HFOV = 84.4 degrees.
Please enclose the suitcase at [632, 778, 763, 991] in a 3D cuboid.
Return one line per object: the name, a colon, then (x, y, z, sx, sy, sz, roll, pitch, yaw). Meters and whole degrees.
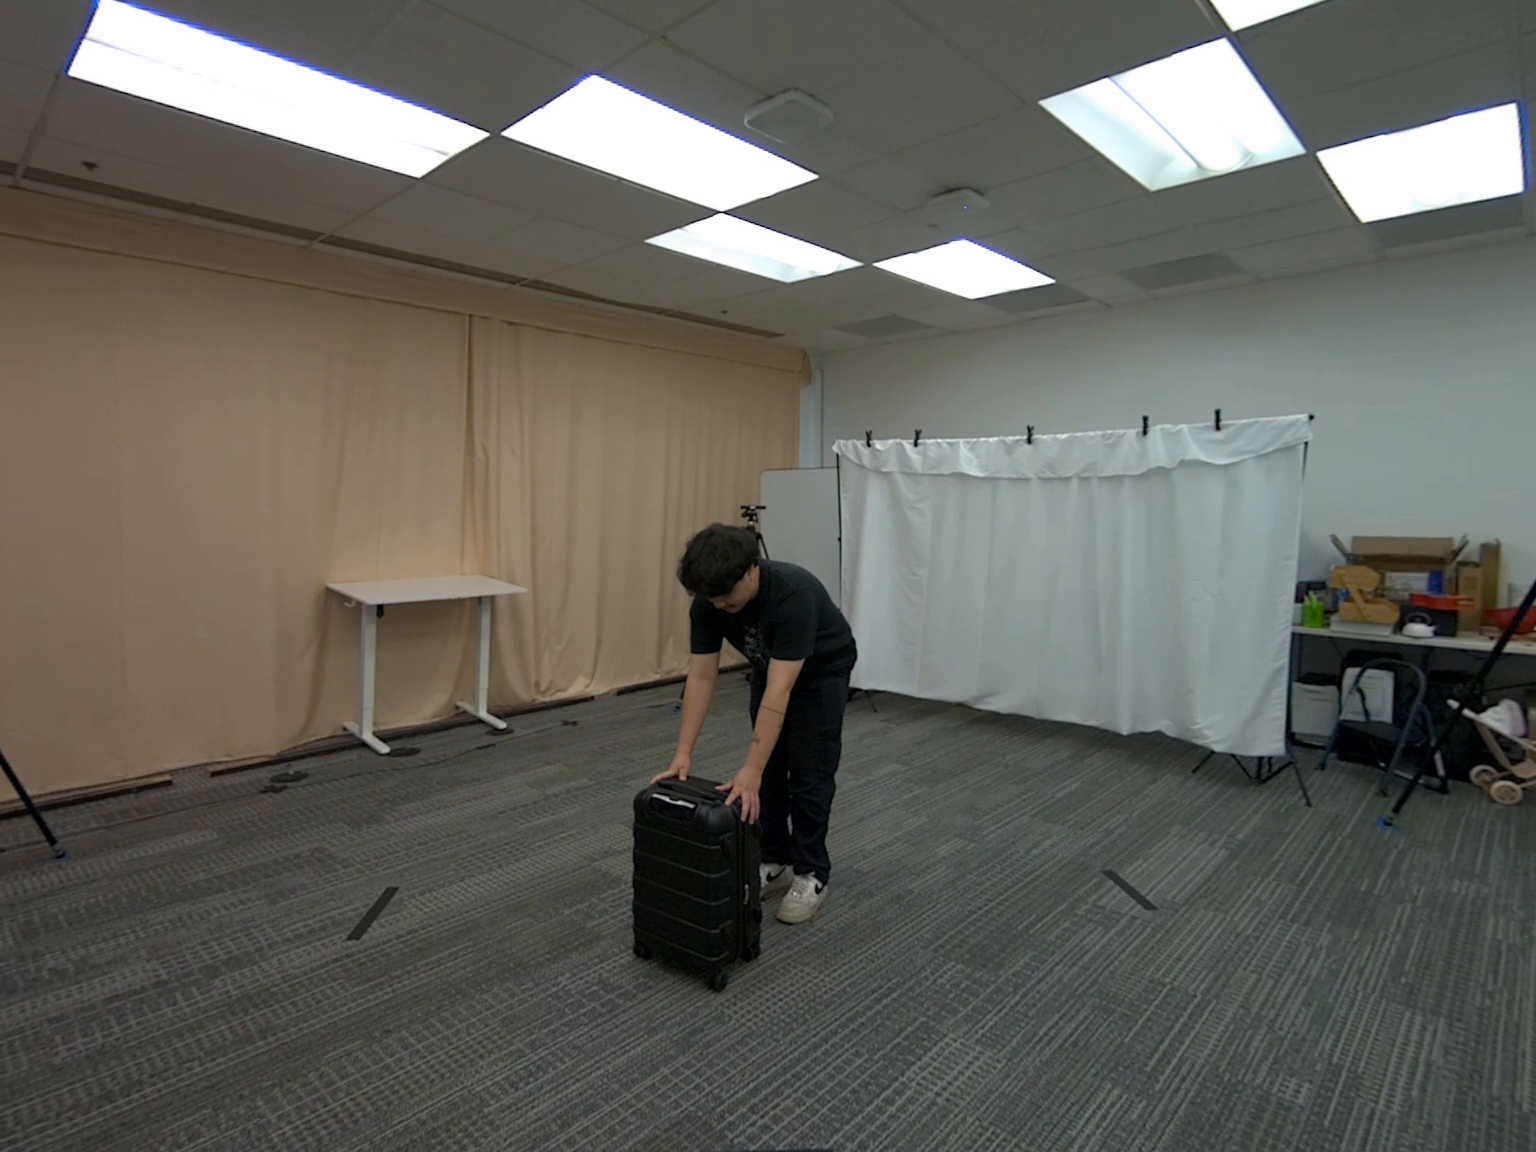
suitcase: (-0.222, 0.908, 2.567, 0.387, 0.548, 0.241, 2, 5, 35)
